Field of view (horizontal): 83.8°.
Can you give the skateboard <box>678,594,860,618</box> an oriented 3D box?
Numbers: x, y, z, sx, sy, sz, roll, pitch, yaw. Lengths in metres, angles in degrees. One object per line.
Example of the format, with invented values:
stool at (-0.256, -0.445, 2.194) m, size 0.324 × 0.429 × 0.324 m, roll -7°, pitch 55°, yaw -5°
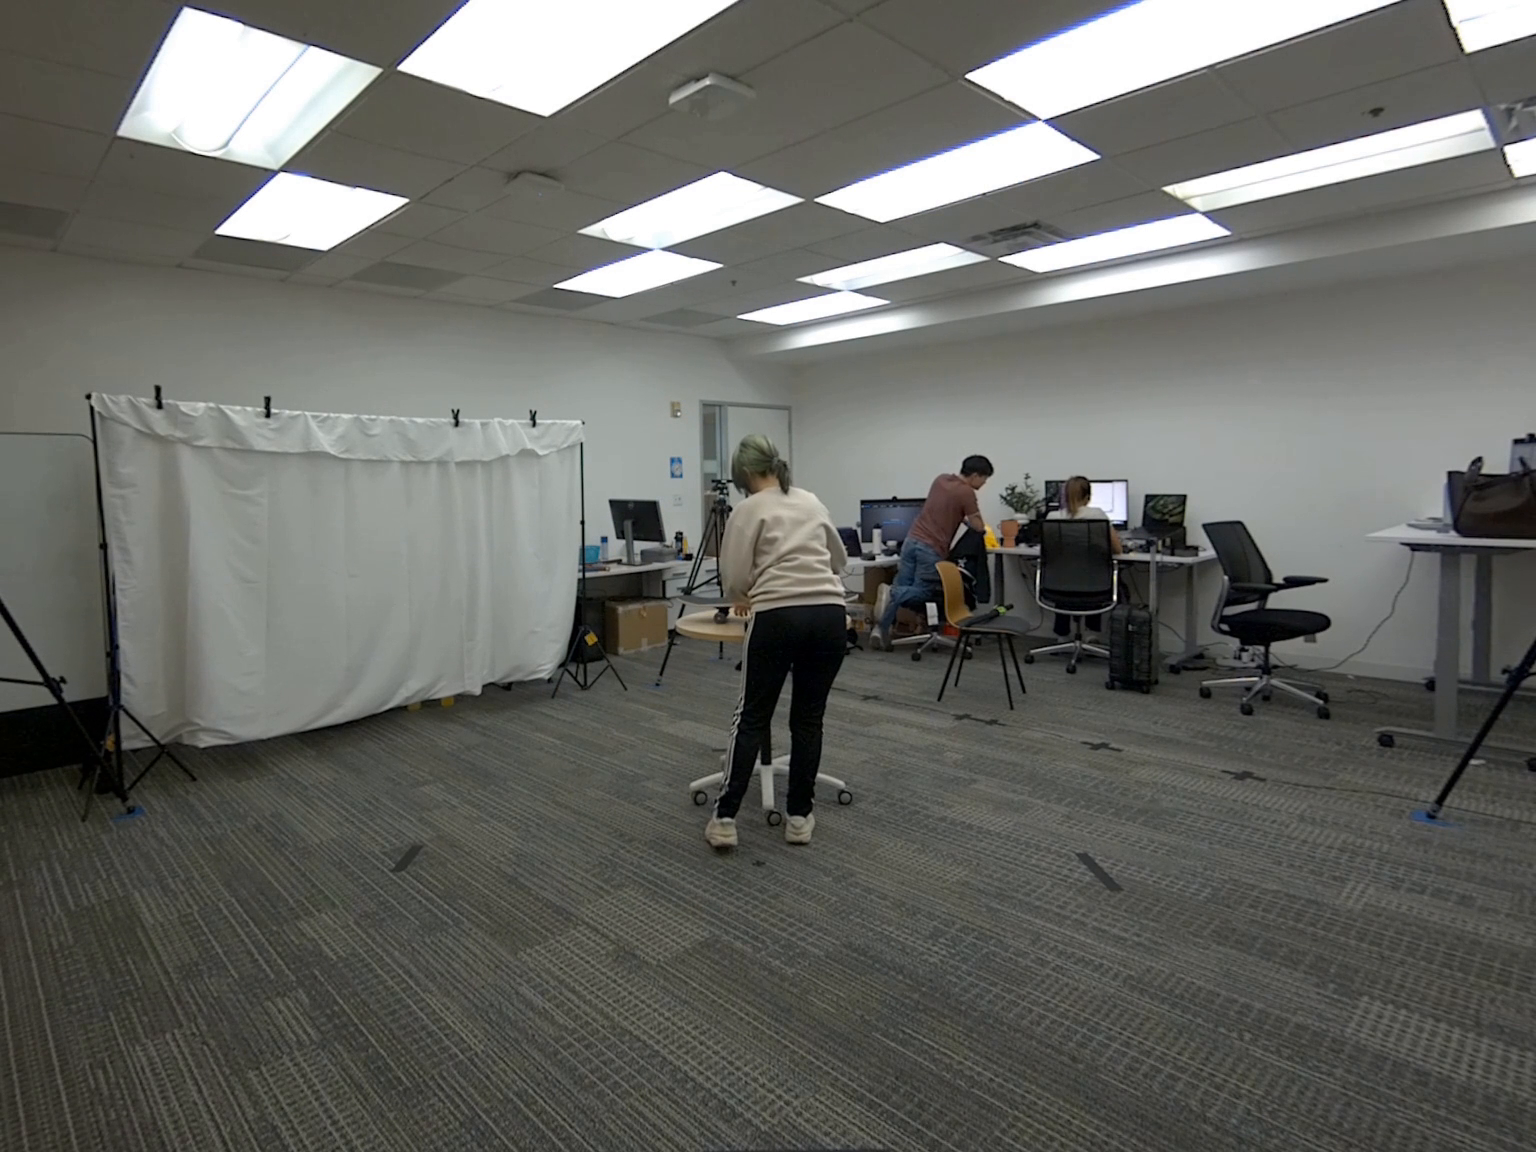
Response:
skateboard at (-0.008, 0.139, 3.718) m, size 0.790 × 0.110 × 0.193 m, roll -1°, pitch 8°, yaw 6°
